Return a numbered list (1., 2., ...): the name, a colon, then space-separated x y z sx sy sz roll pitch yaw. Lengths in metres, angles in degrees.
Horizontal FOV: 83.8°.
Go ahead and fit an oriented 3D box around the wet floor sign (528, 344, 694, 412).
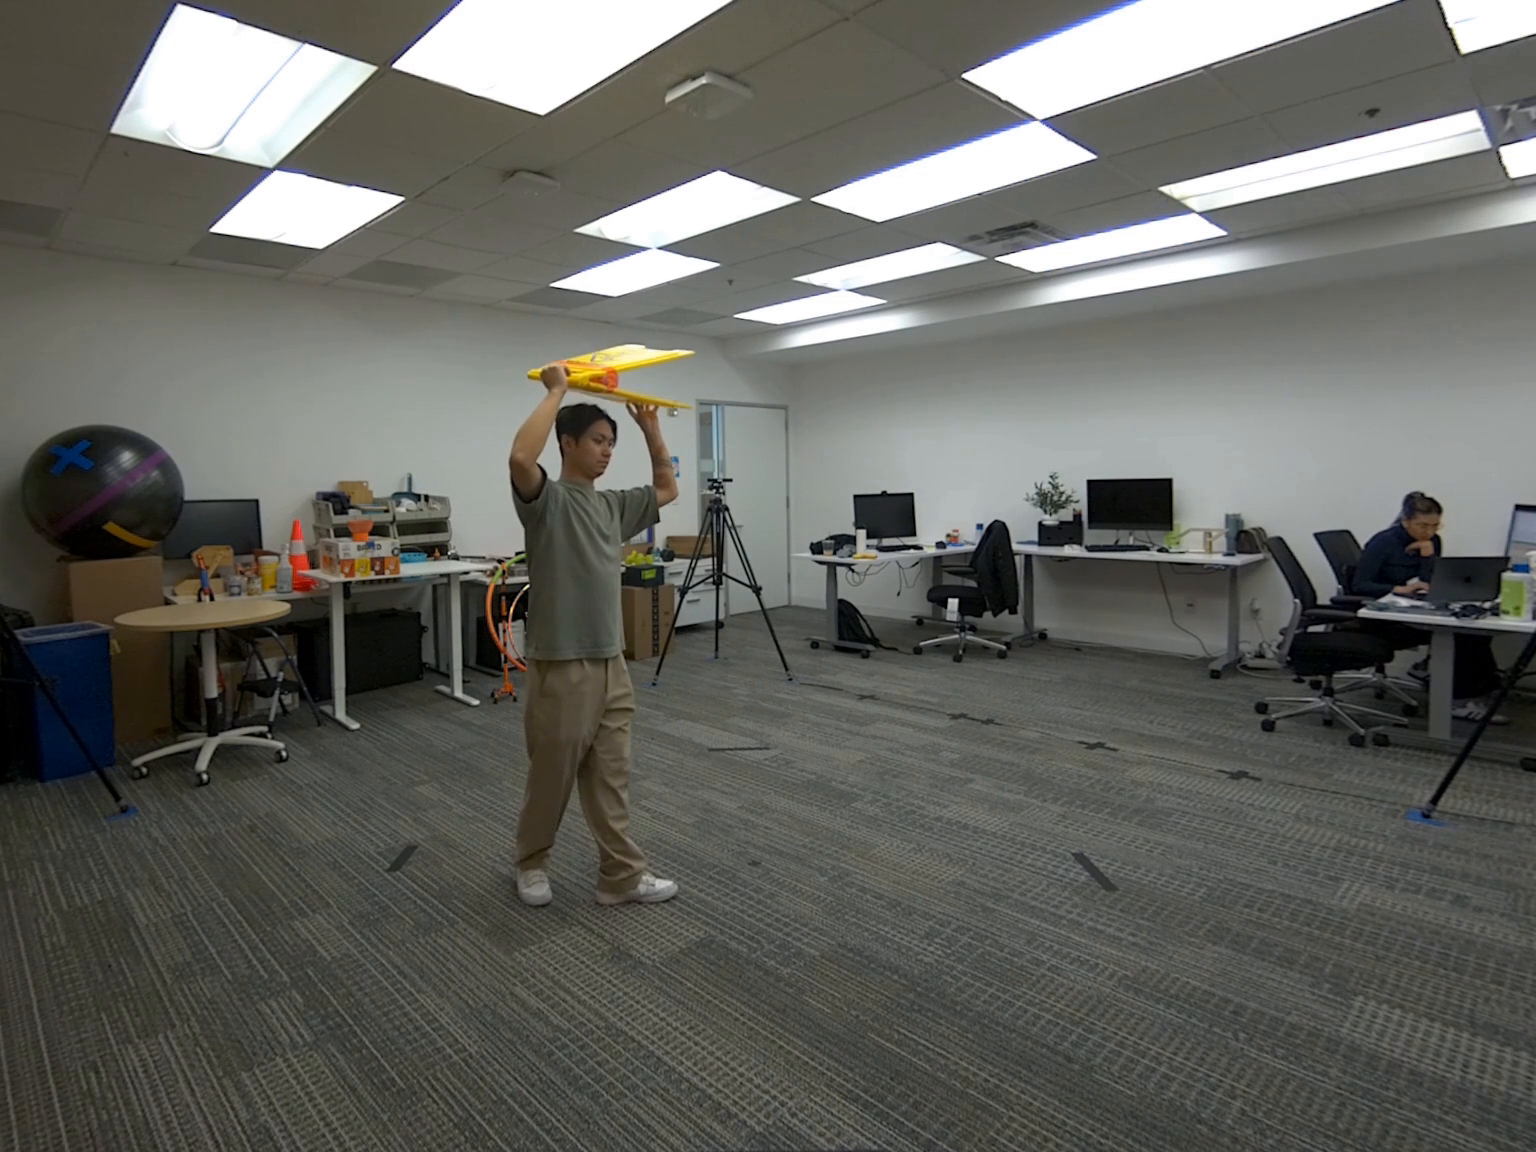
1. wet floor sign: -0.524 -0.664 2.845 0.289 0.287 0.638 11 14 20
